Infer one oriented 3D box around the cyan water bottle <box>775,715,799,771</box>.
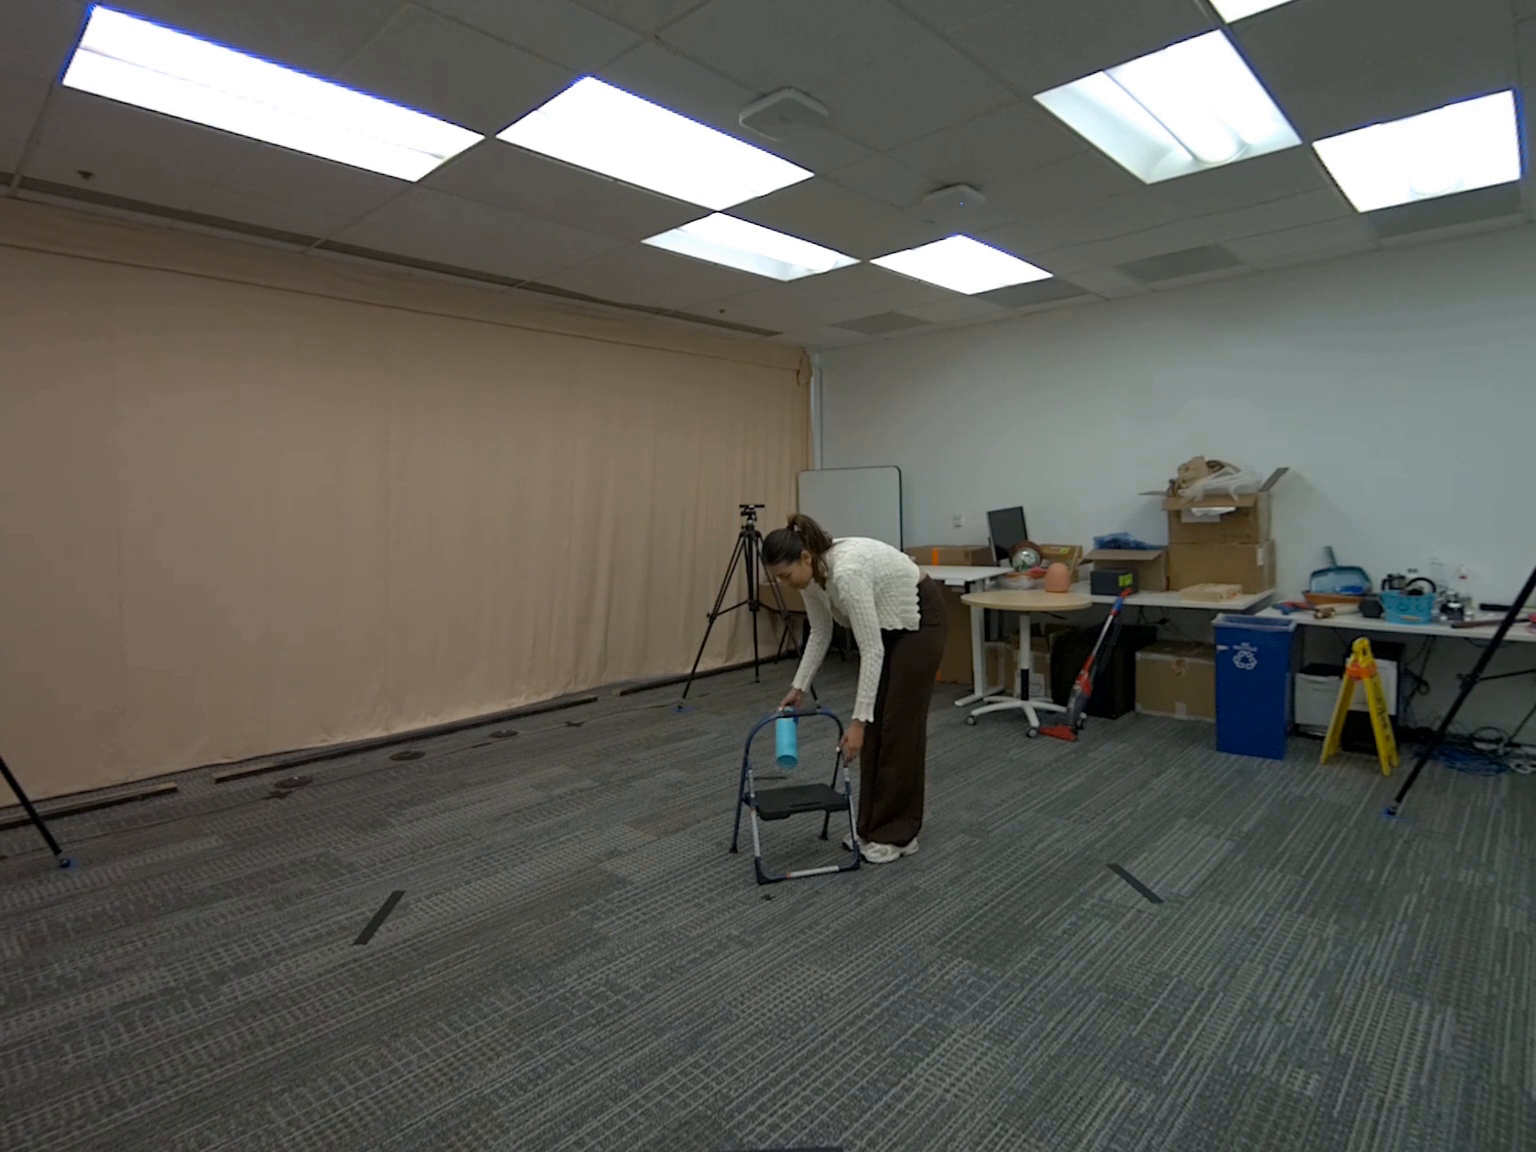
[{"bbox_3d":[0.090,0.643,3.404,0.092,0.090,0.288,-1,40,1],"label":"cyan water bottle"}]
